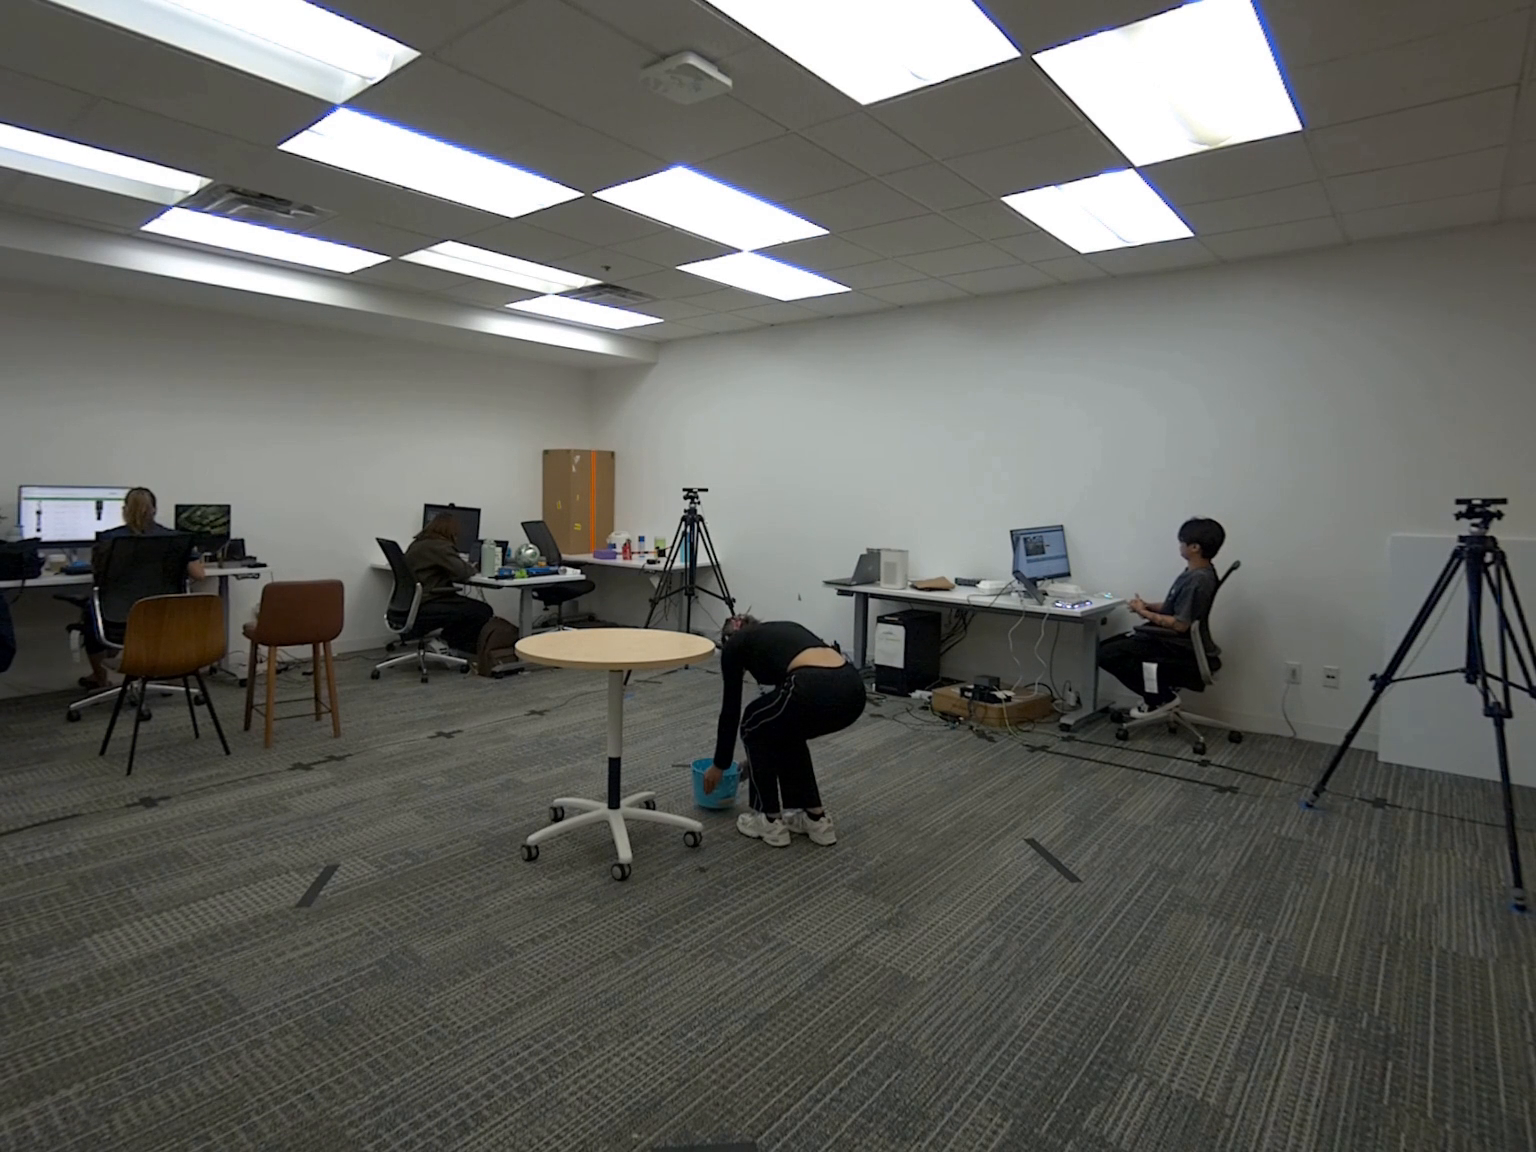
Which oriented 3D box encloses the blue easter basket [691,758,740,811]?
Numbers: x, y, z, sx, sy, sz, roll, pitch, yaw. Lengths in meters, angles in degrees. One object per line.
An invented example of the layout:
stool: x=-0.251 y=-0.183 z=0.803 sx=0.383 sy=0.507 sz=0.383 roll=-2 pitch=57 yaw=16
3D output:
blue easter basket: x=-0.236 y=0.899 z=3.727 sx=0.243 sy=0.155 sz=0.245 roll=3 pitch=5 yaw=-2
